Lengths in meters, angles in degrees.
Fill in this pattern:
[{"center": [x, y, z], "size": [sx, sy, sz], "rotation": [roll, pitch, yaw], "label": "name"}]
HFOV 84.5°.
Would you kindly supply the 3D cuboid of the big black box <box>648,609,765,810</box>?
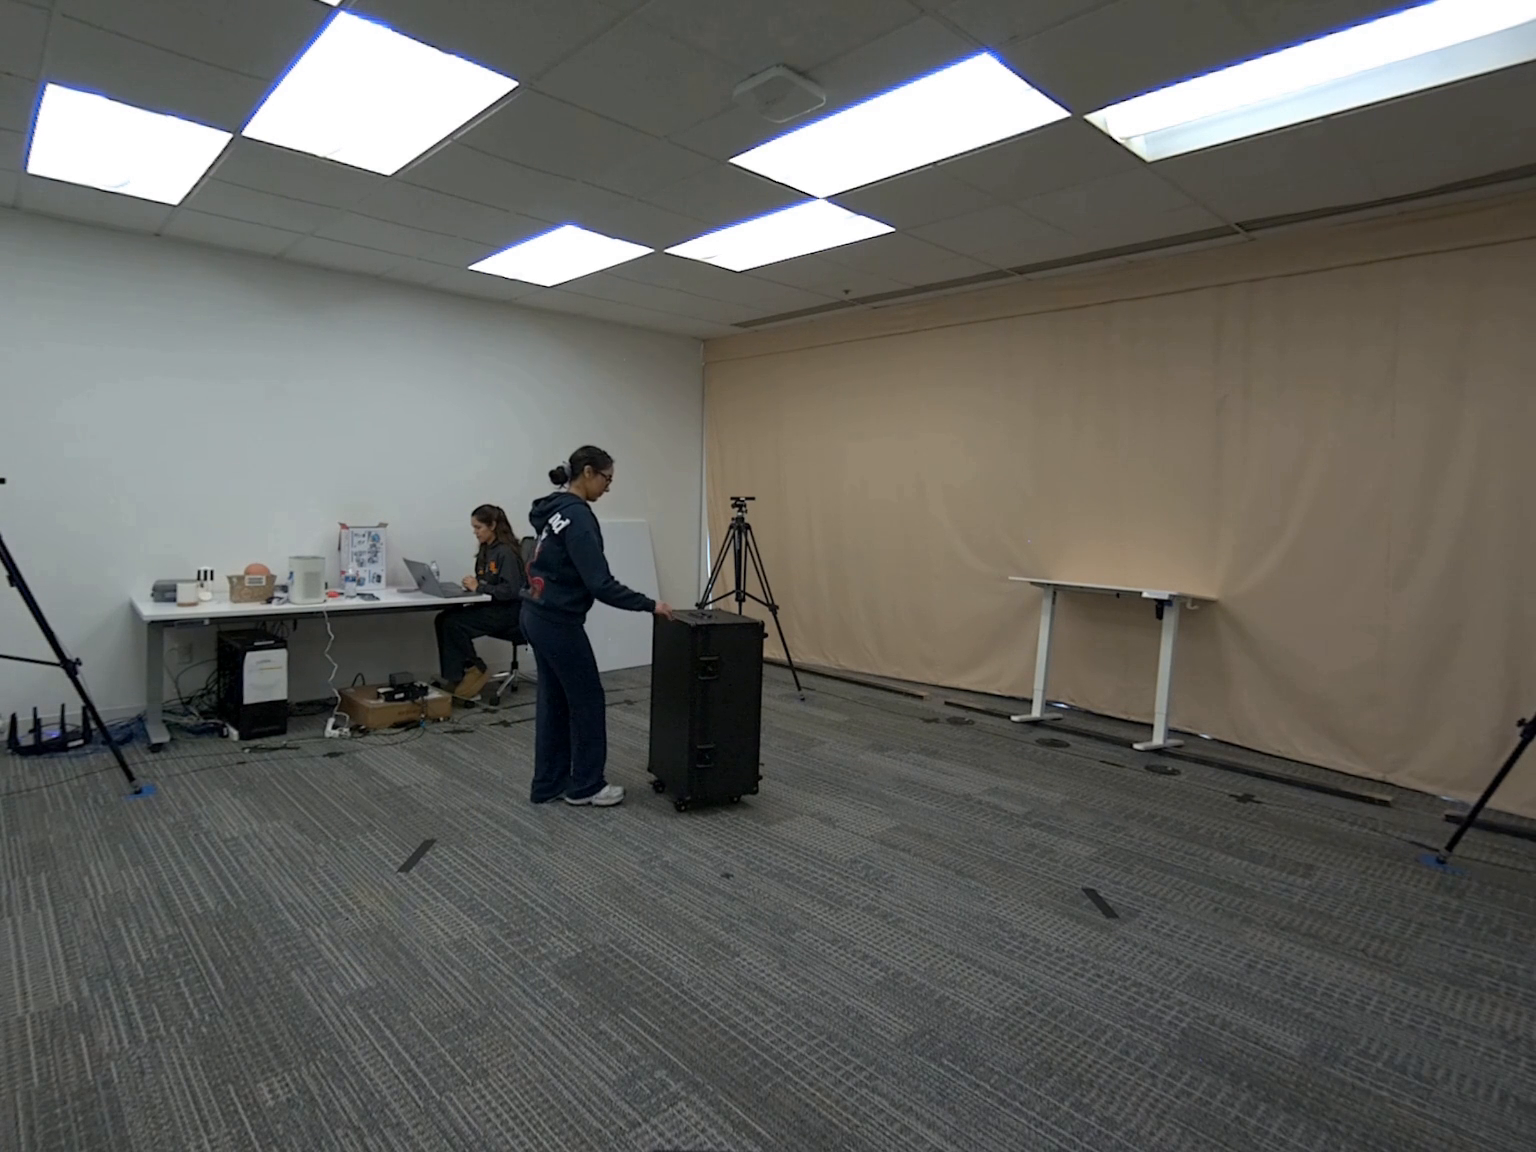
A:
[{"center": [-0.308, 0.608, 3.924], "size": [0.388, 0.860, 0.532], "rotation": [2, 3, -28], "label": "big black box"}]
